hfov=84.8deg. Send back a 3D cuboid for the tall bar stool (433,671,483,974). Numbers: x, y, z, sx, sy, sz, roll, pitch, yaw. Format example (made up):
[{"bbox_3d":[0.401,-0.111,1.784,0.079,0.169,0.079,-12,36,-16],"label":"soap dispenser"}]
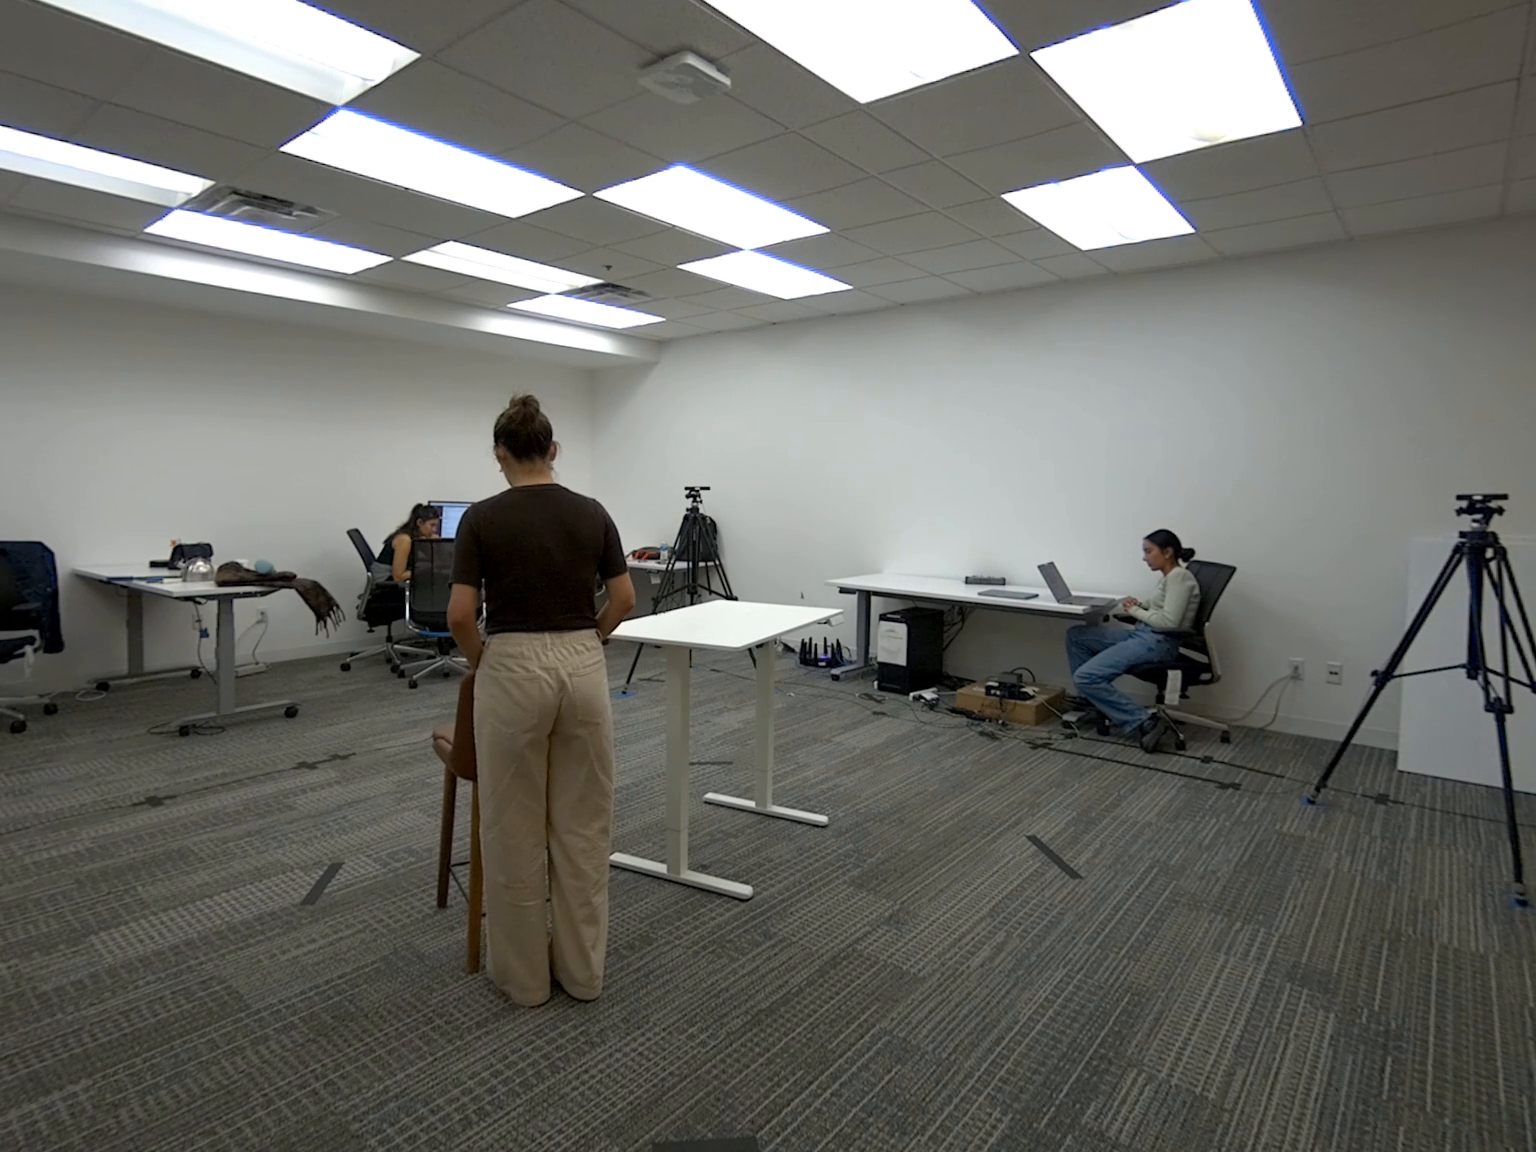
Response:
[{"bbox_3d":[-0.804,0.661,2.667,0.444,0.886,0.482,-1,5,-29],"label":"tall bar stool"}]
